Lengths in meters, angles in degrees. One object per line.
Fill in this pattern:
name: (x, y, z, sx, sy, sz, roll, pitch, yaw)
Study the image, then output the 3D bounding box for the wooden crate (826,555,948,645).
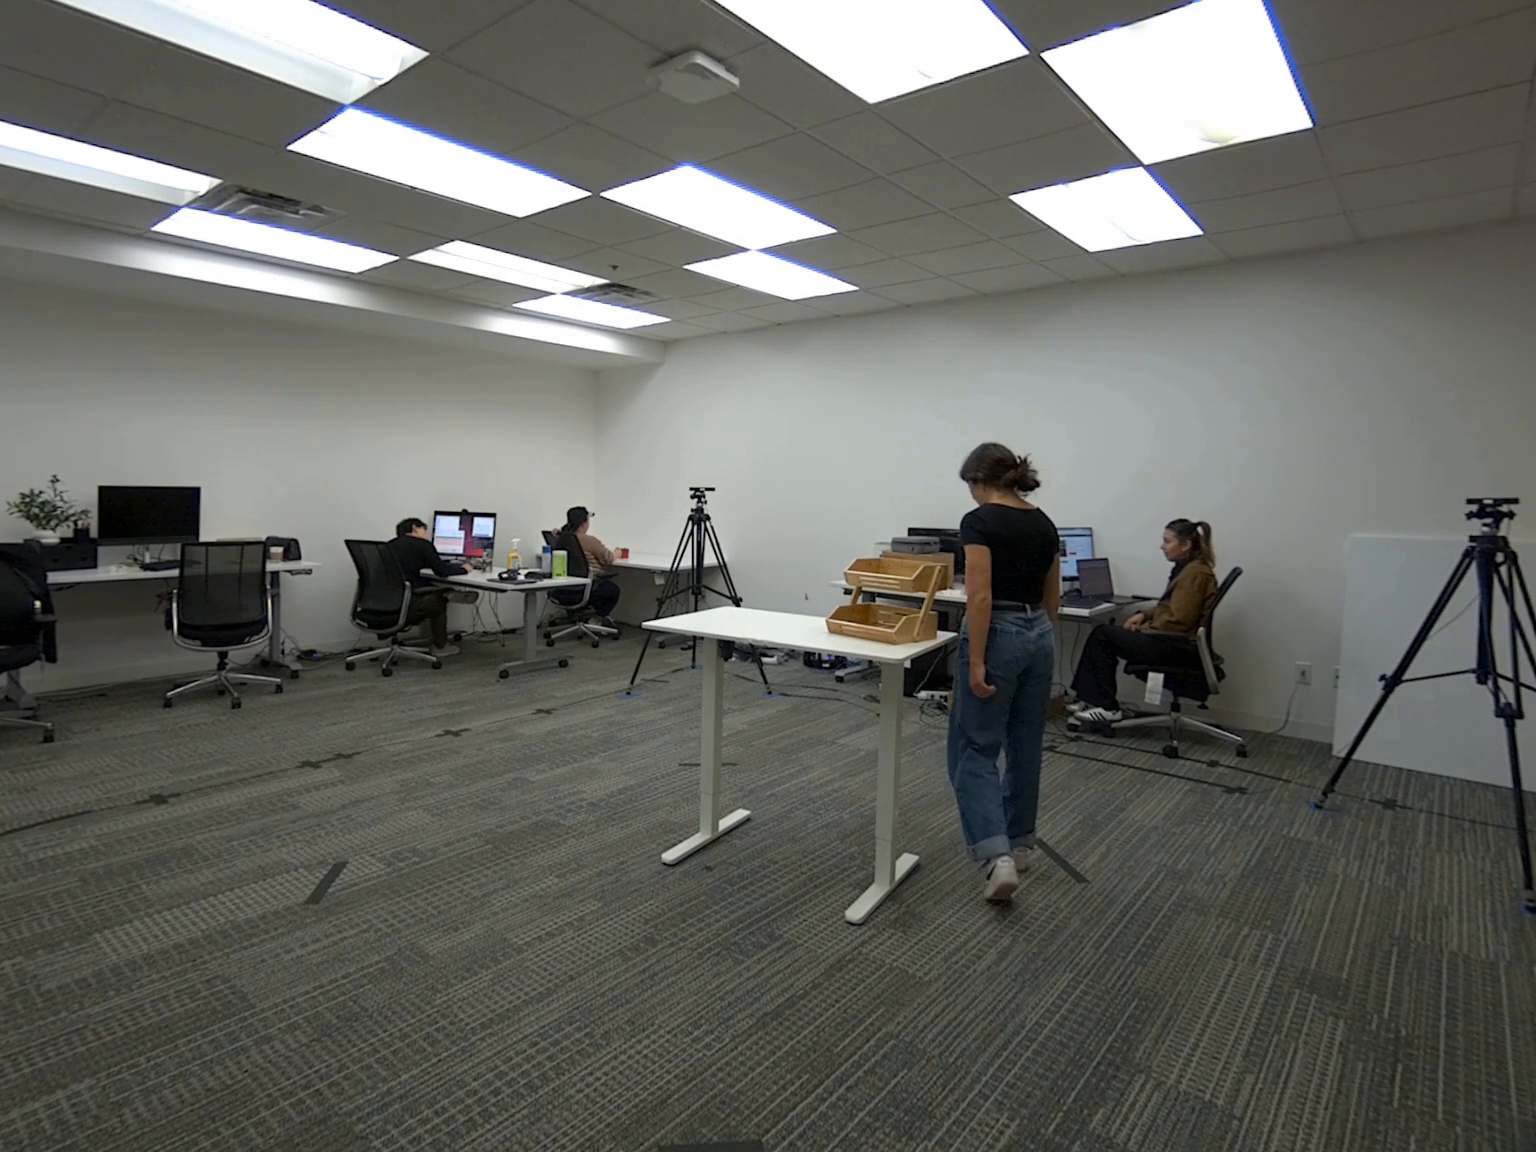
wooden crate: (0.412, 0.075, 3.031, 0.293, 0.272, 0.336, -2, 6, -44)
